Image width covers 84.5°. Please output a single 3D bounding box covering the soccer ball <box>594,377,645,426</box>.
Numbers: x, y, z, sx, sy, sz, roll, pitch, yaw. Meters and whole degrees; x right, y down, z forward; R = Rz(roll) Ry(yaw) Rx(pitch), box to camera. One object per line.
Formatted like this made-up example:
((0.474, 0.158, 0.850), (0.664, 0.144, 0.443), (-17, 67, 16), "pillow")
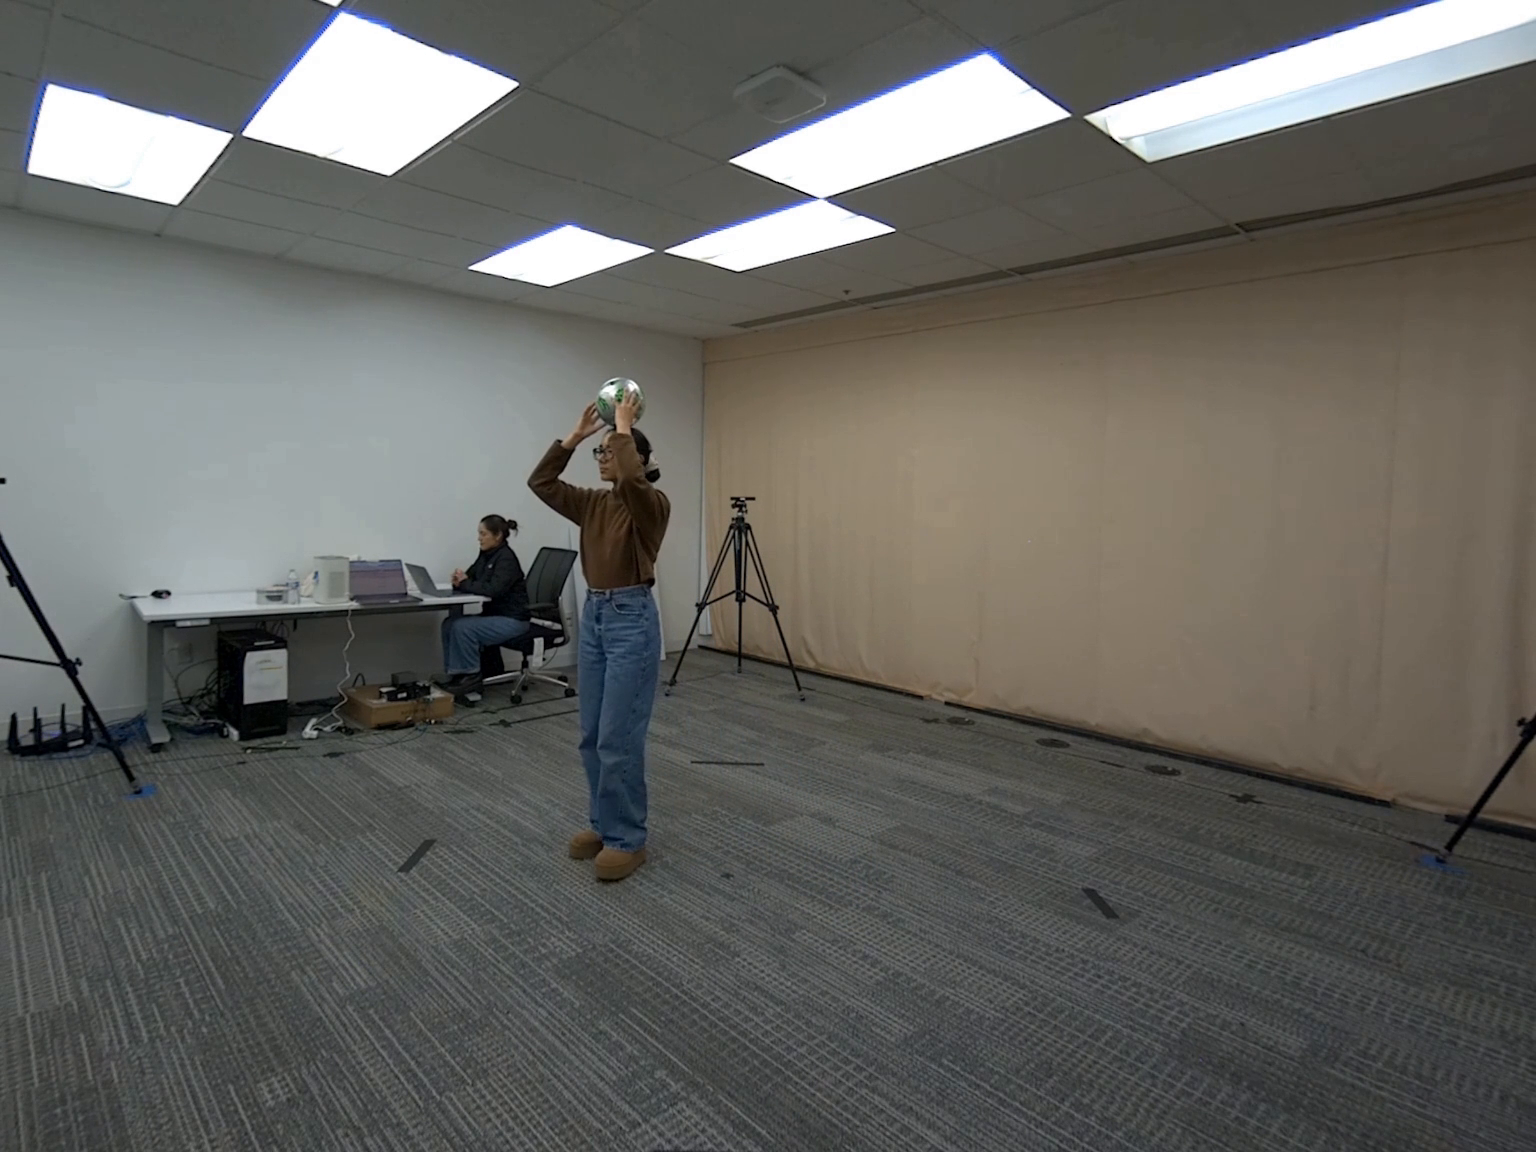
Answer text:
((-0.560, -0.657, 3.195), (0.187, 0.187, 0.188), (1, 4, -1), "soccer ball")
